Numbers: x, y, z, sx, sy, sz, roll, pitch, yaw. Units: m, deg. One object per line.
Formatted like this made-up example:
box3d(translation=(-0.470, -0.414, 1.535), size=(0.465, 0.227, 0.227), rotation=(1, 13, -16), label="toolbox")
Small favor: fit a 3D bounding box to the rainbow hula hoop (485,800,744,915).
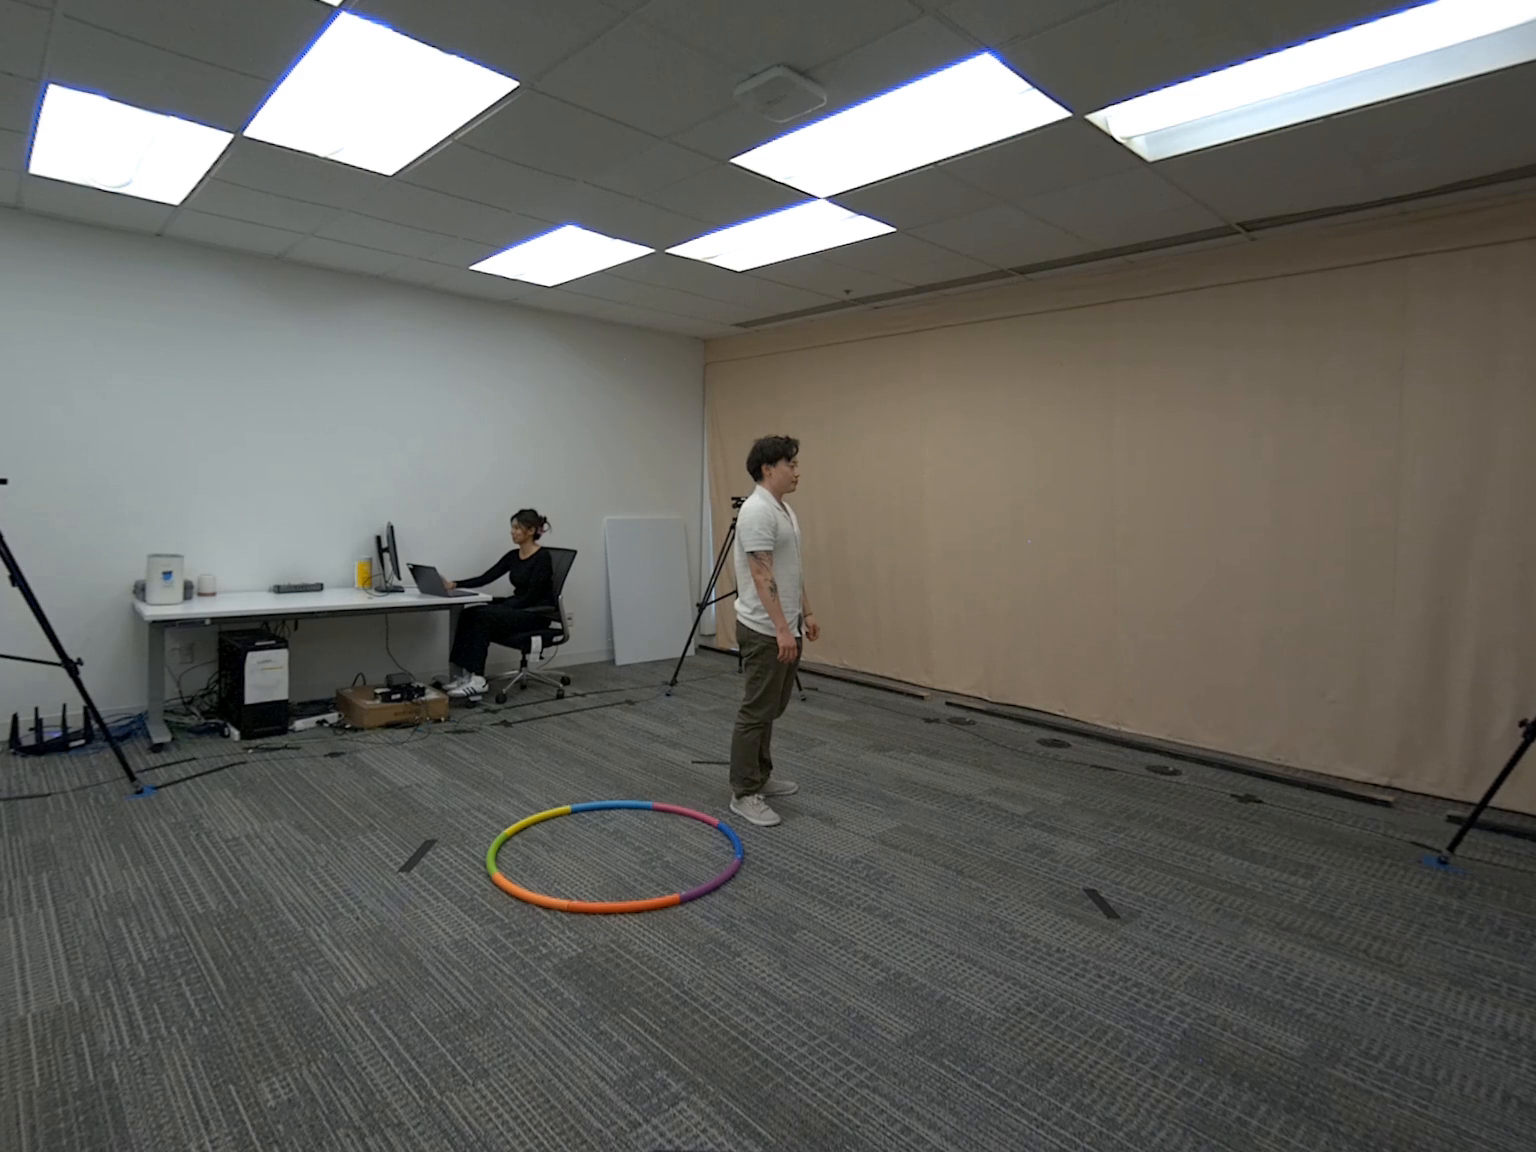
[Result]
box3d(translation=(-0.590, 1.051, 3.277), size=(0.978, 0.035, 0.982), rotation=(2, 5, -1), label="rainbow hula hoop")
